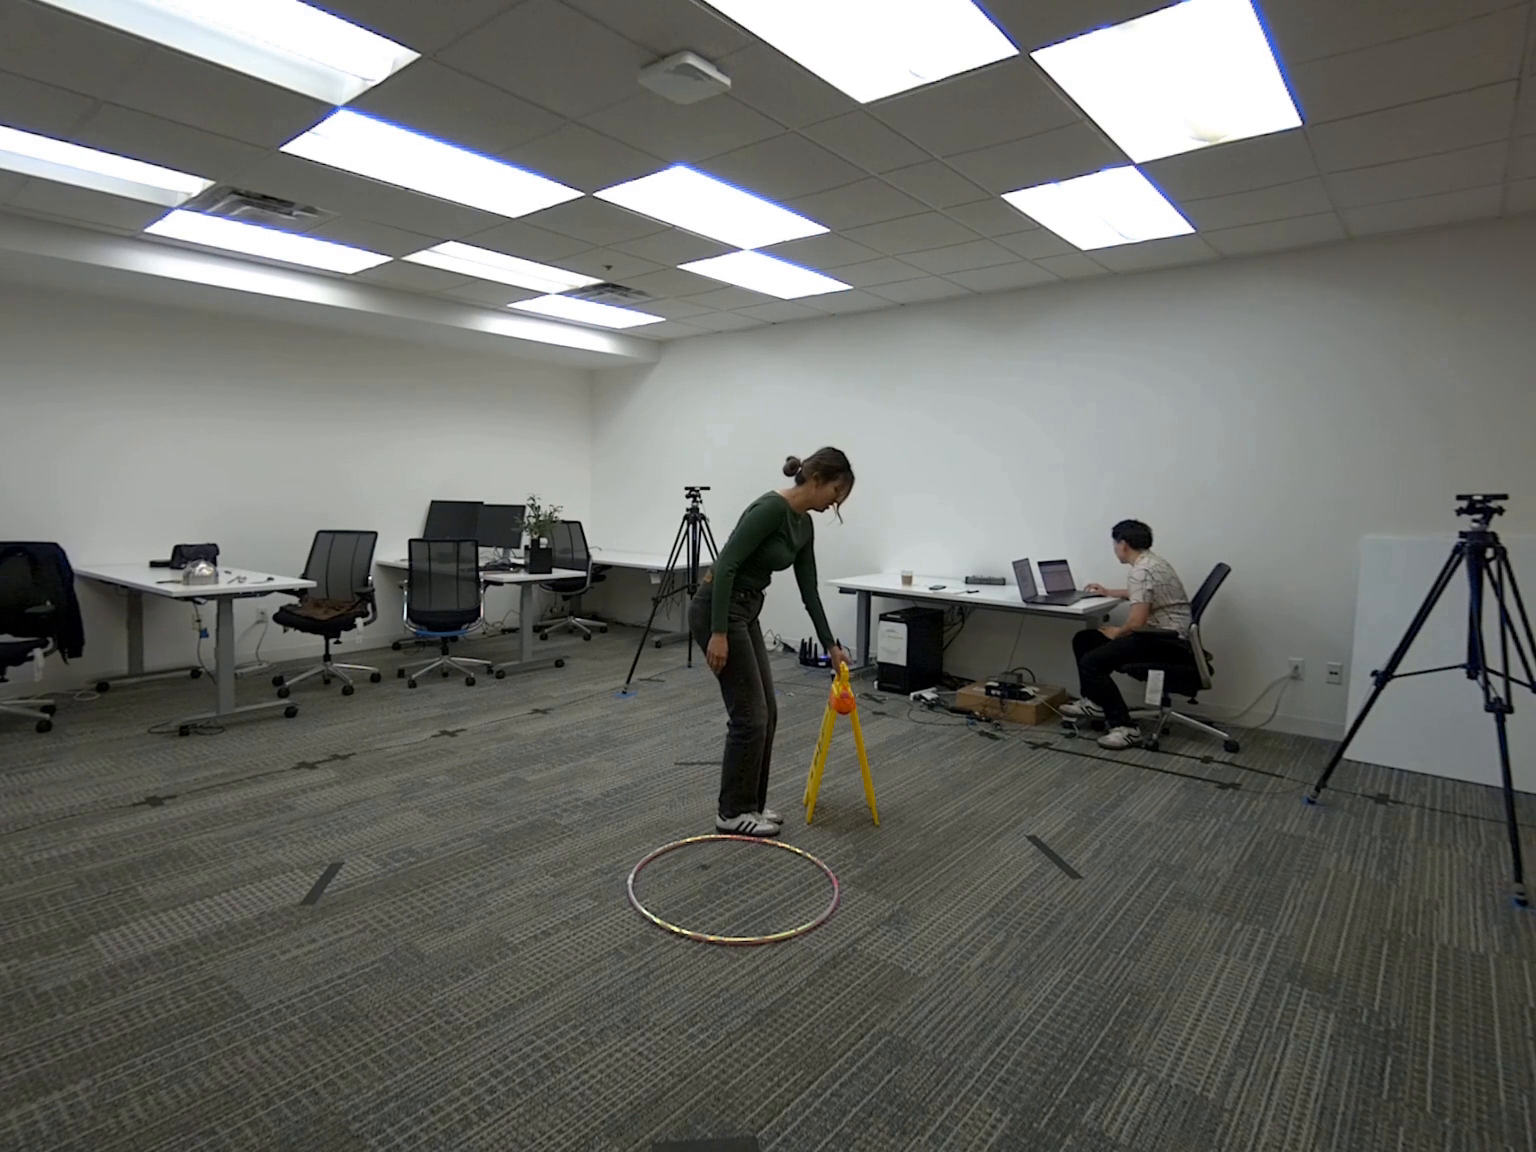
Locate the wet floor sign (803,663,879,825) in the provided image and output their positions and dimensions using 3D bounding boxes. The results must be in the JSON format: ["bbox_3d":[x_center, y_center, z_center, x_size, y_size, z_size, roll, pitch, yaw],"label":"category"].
[{"bbox_3d":[0.306,0.697,3.652,0.290,0.644,0.283,1,4,1],"label":"wet floor sign"}]
